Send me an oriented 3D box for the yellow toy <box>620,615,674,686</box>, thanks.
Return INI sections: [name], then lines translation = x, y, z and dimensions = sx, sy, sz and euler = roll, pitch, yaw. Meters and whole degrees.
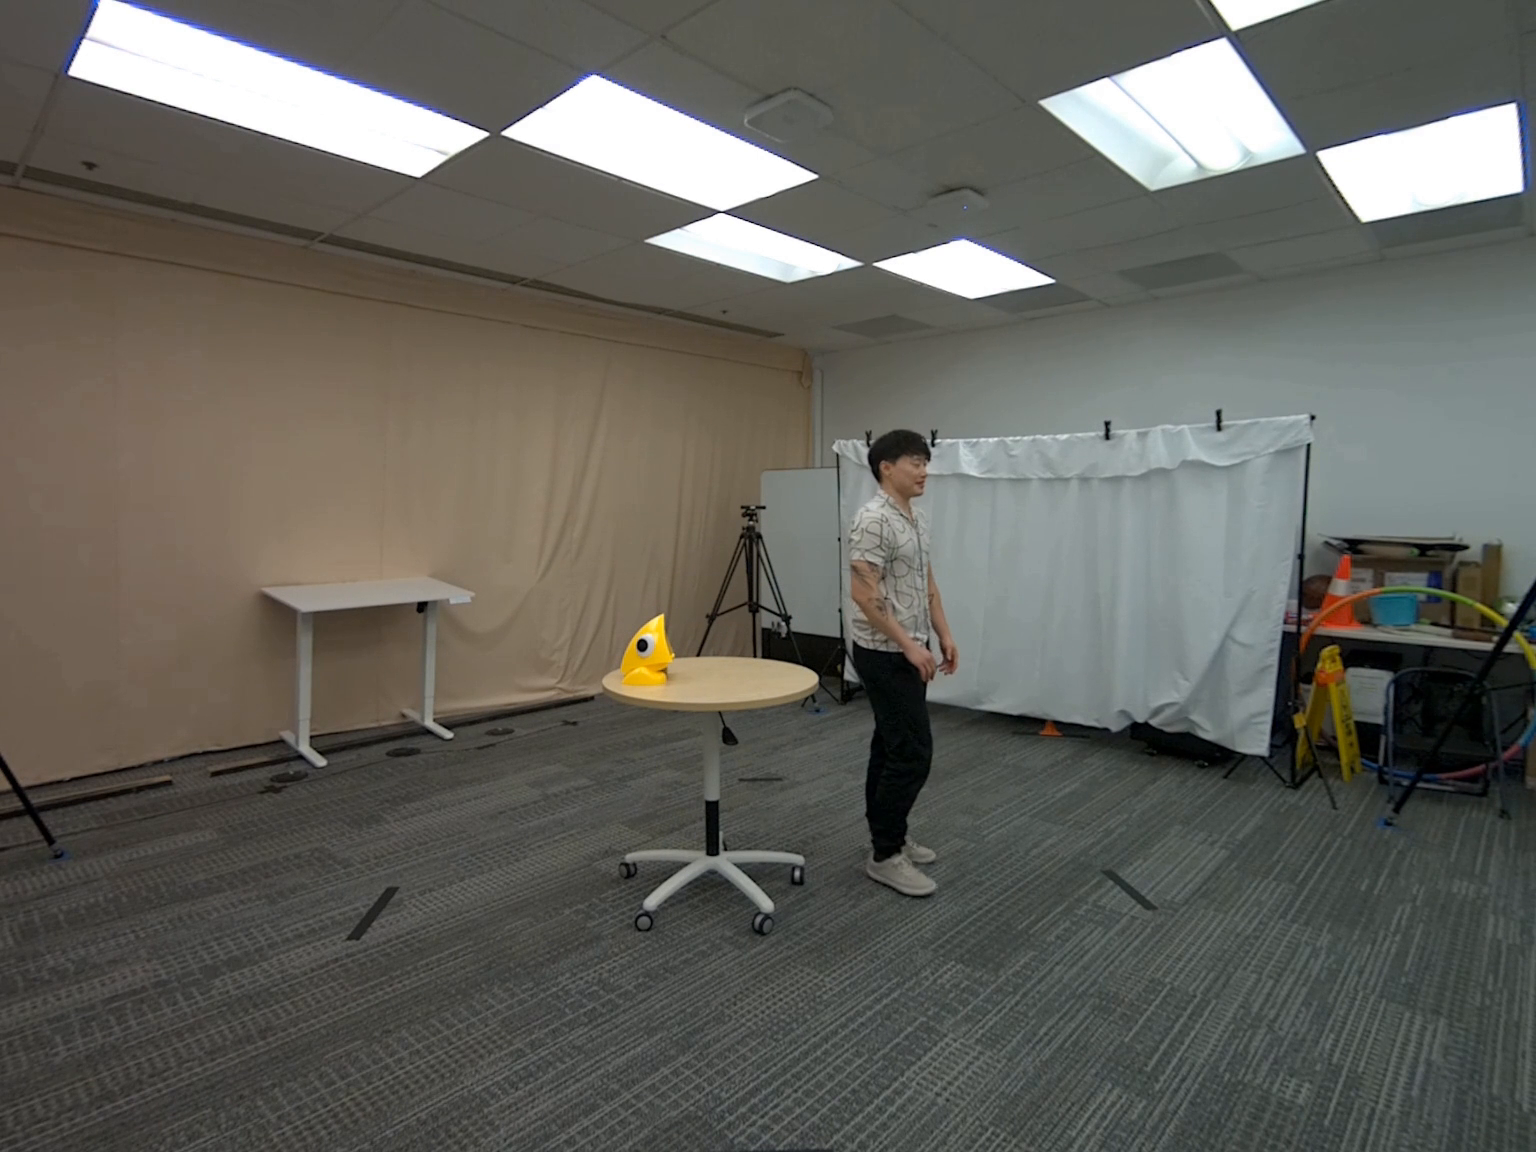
[yellow toy]
translation = -0.430, 0.250, 2.973
dimensions = 0.192, 0.230, 0.206
euler = -1, 4, -4
